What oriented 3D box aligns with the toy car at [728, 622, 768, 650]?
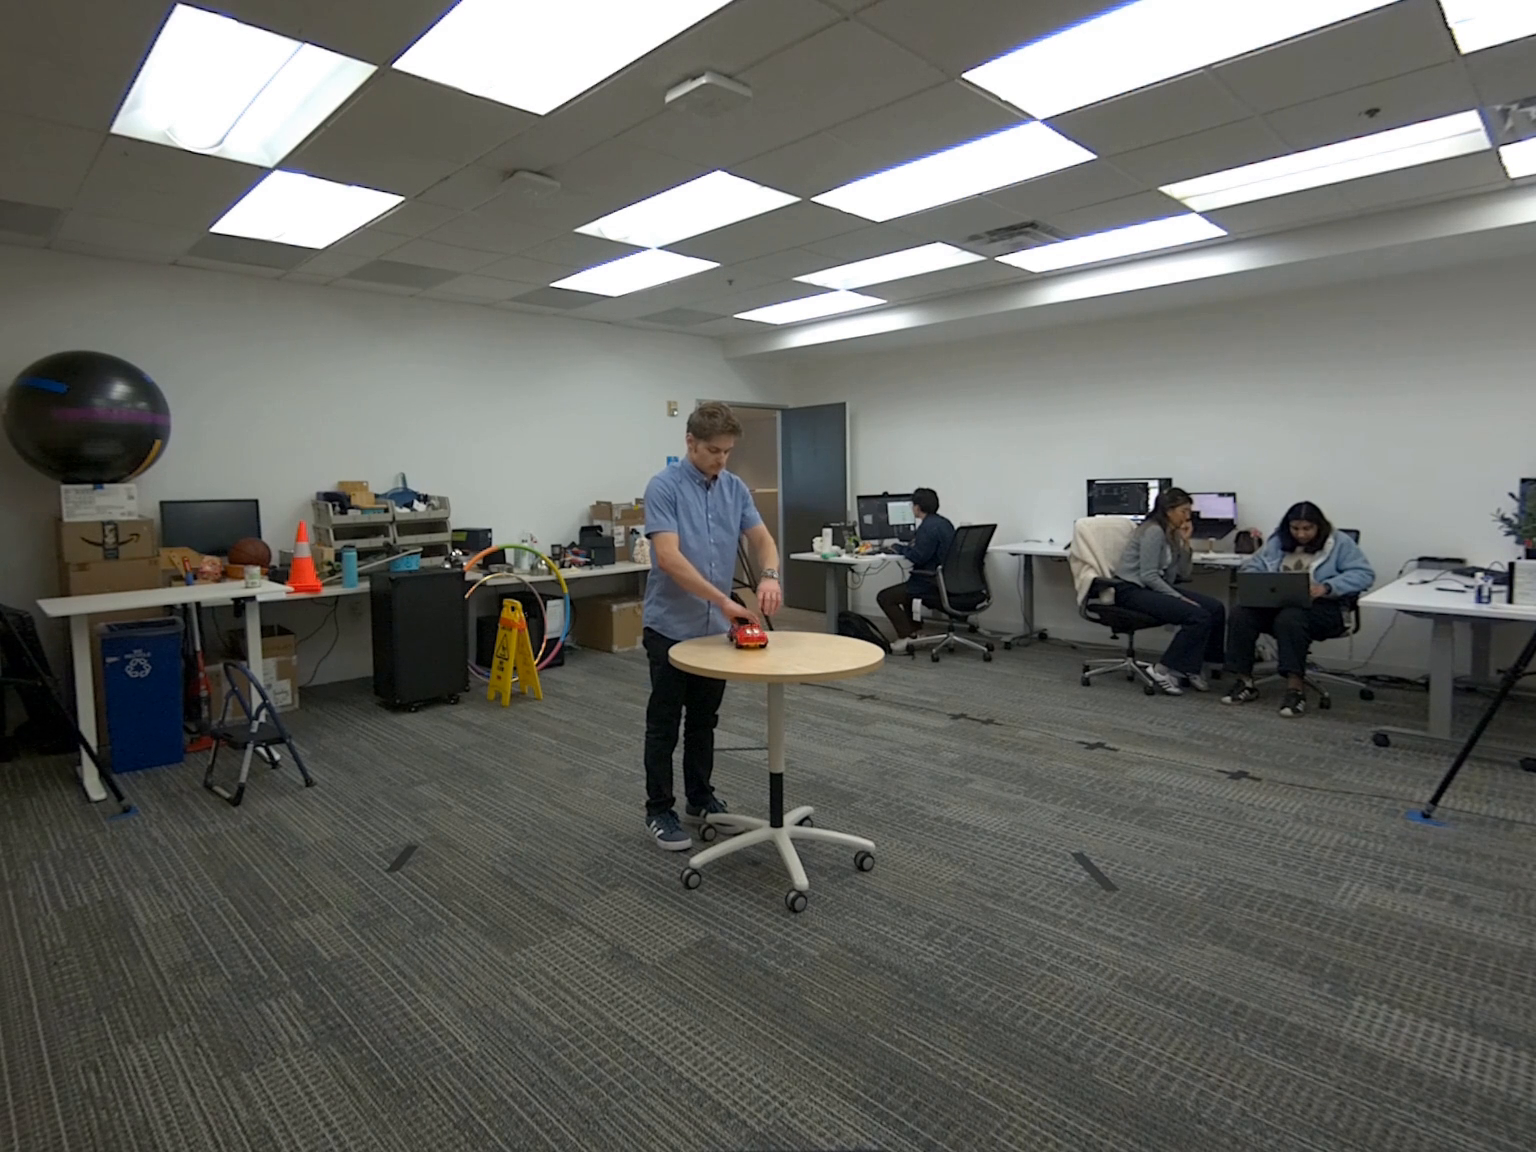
[{"bbox_3d":[-0.065,0.225,3.135,0.130,0.084,0.253,-2,-6,-5],"label":"toy car"}]
